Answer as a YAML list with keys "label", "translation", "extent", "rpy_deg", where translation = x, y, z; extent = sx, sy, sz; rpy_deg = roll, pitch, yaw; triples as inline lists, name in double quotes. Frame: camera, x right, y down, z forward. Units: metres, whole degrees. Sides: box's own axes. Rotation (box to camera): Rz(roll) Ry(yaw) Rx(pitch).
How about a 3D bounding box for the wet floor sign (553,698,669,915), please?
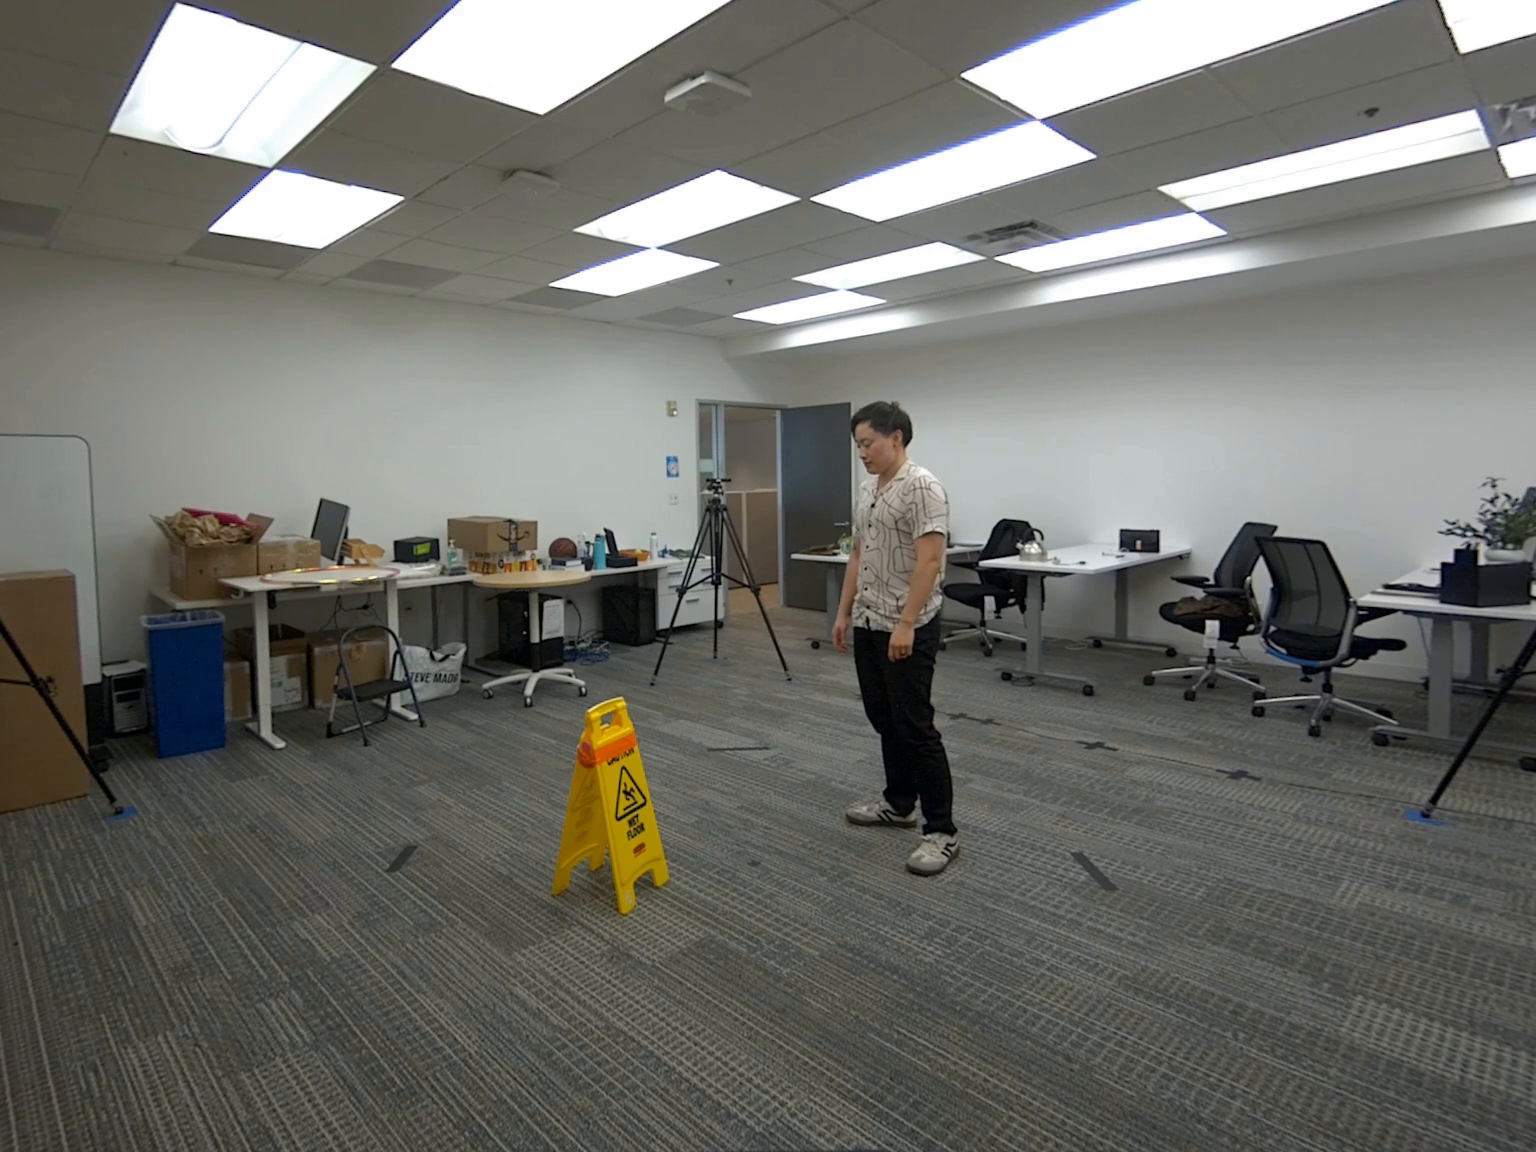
- label: "wet floor sign"
  translation: [-0.540, 0.751, 2.914]
  extent: [0.297, 0.643, 0.276]
  rpy_deg: [2, 6, 28]
